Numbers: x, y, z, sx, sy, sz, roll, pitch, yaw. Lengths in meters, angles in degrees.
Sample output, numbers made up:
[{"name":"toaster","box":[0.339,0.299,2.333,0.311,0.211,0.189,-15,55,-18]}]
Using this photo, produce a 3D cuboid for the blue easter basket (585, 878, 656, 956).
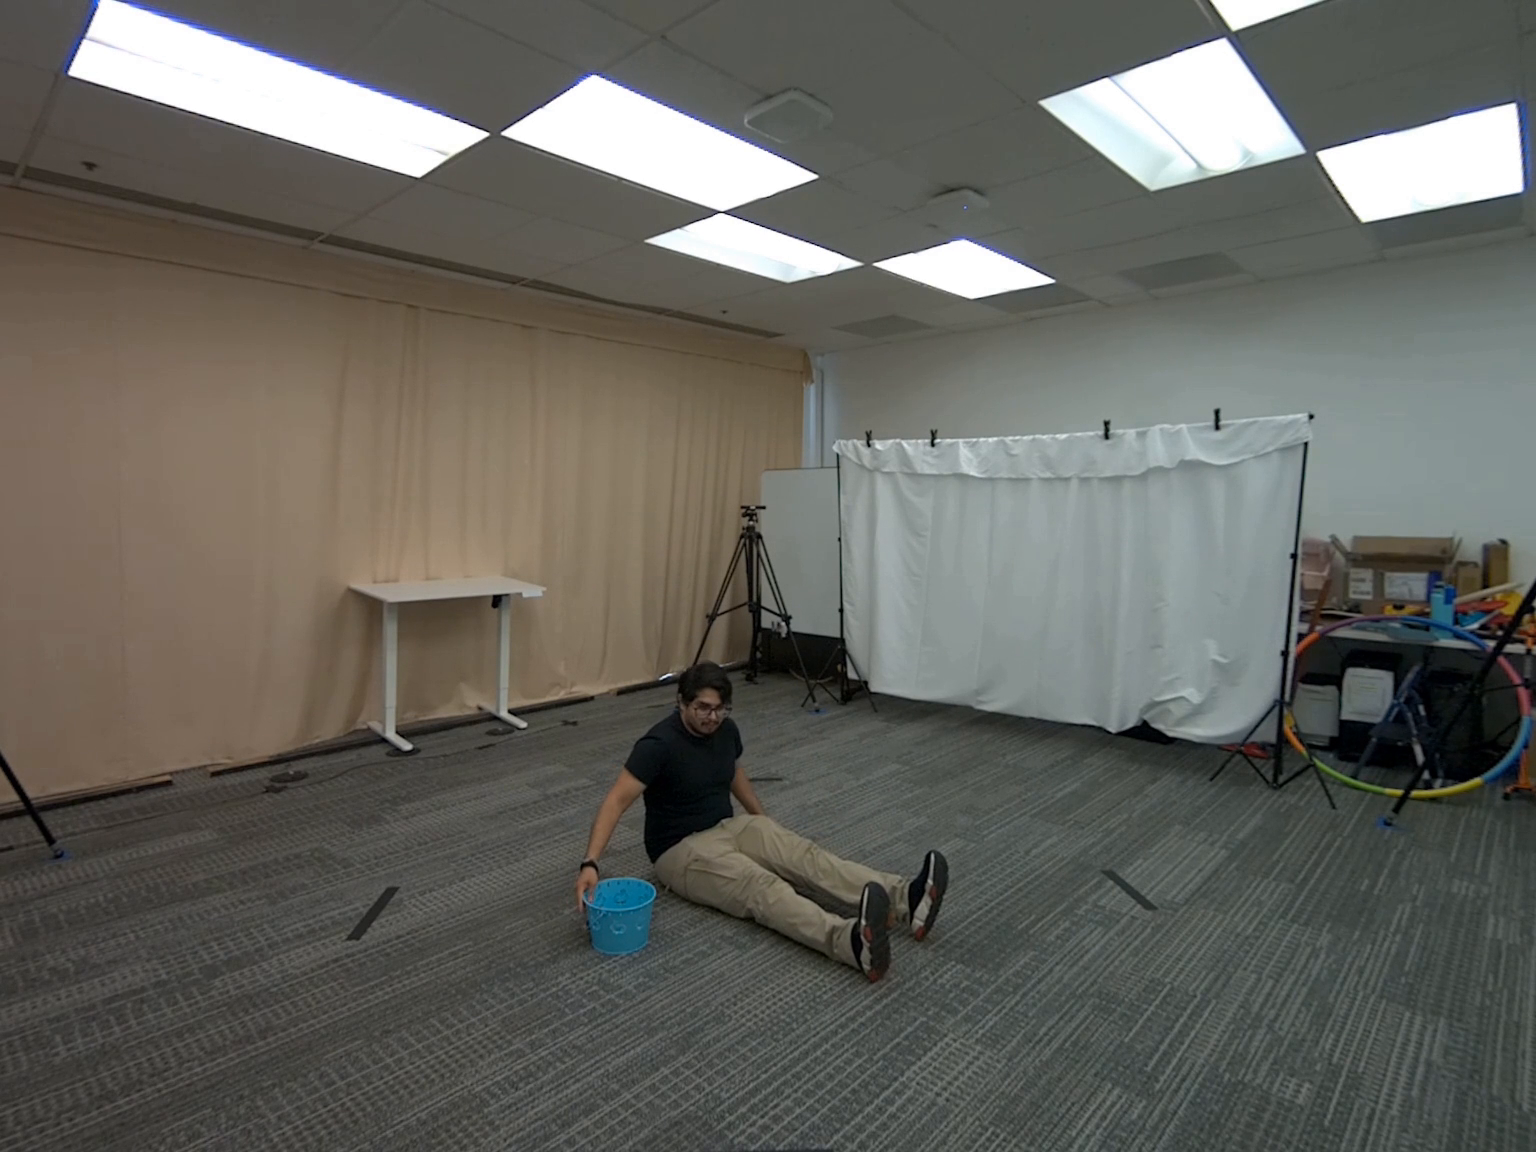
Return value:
[{"name":"blue easter basket","box":[-0.486,1.090,2.702,0.243,0.155,0.244,-1,4,-2]}]
